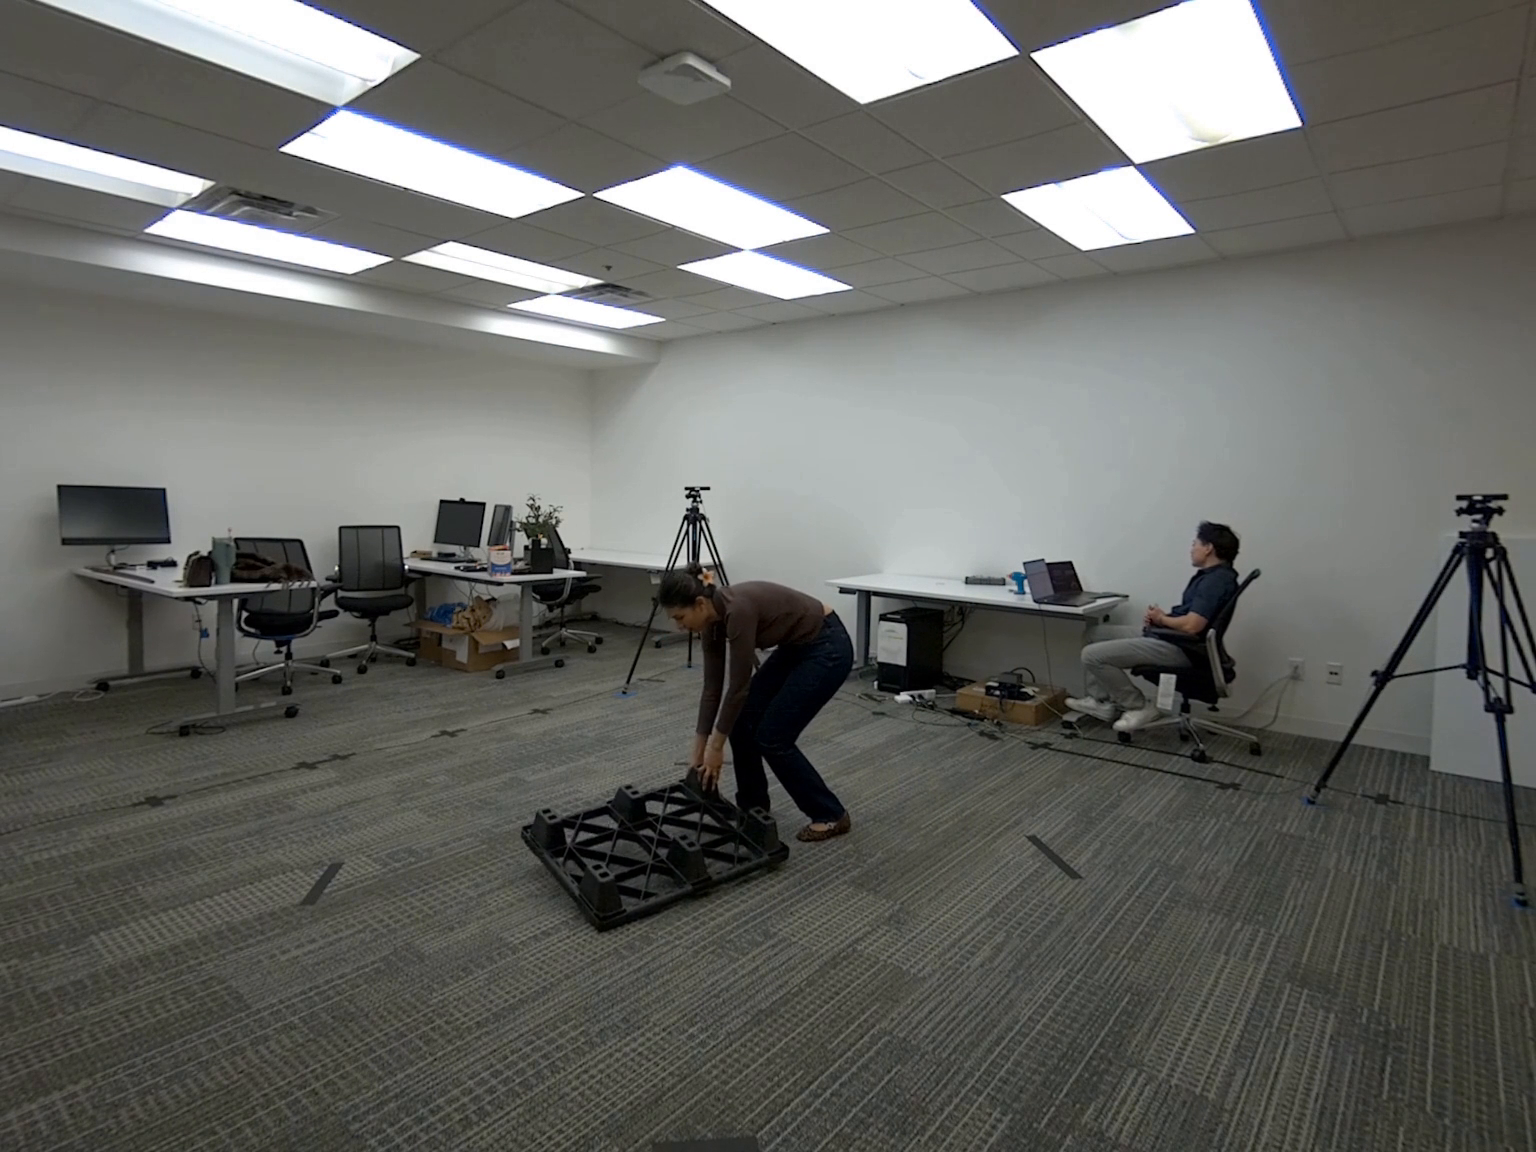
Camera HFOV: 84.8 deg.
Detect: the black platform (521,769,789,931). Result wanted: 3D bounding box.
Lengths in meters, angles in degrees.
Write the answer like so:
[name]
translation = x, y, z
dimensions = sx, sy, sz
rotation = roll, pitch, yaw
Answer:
[black platform]
translation = -0.413, 0.927, 3.085
dimensions = 0.783, 0.141, 0.630
rotation = -8, 20, -39
